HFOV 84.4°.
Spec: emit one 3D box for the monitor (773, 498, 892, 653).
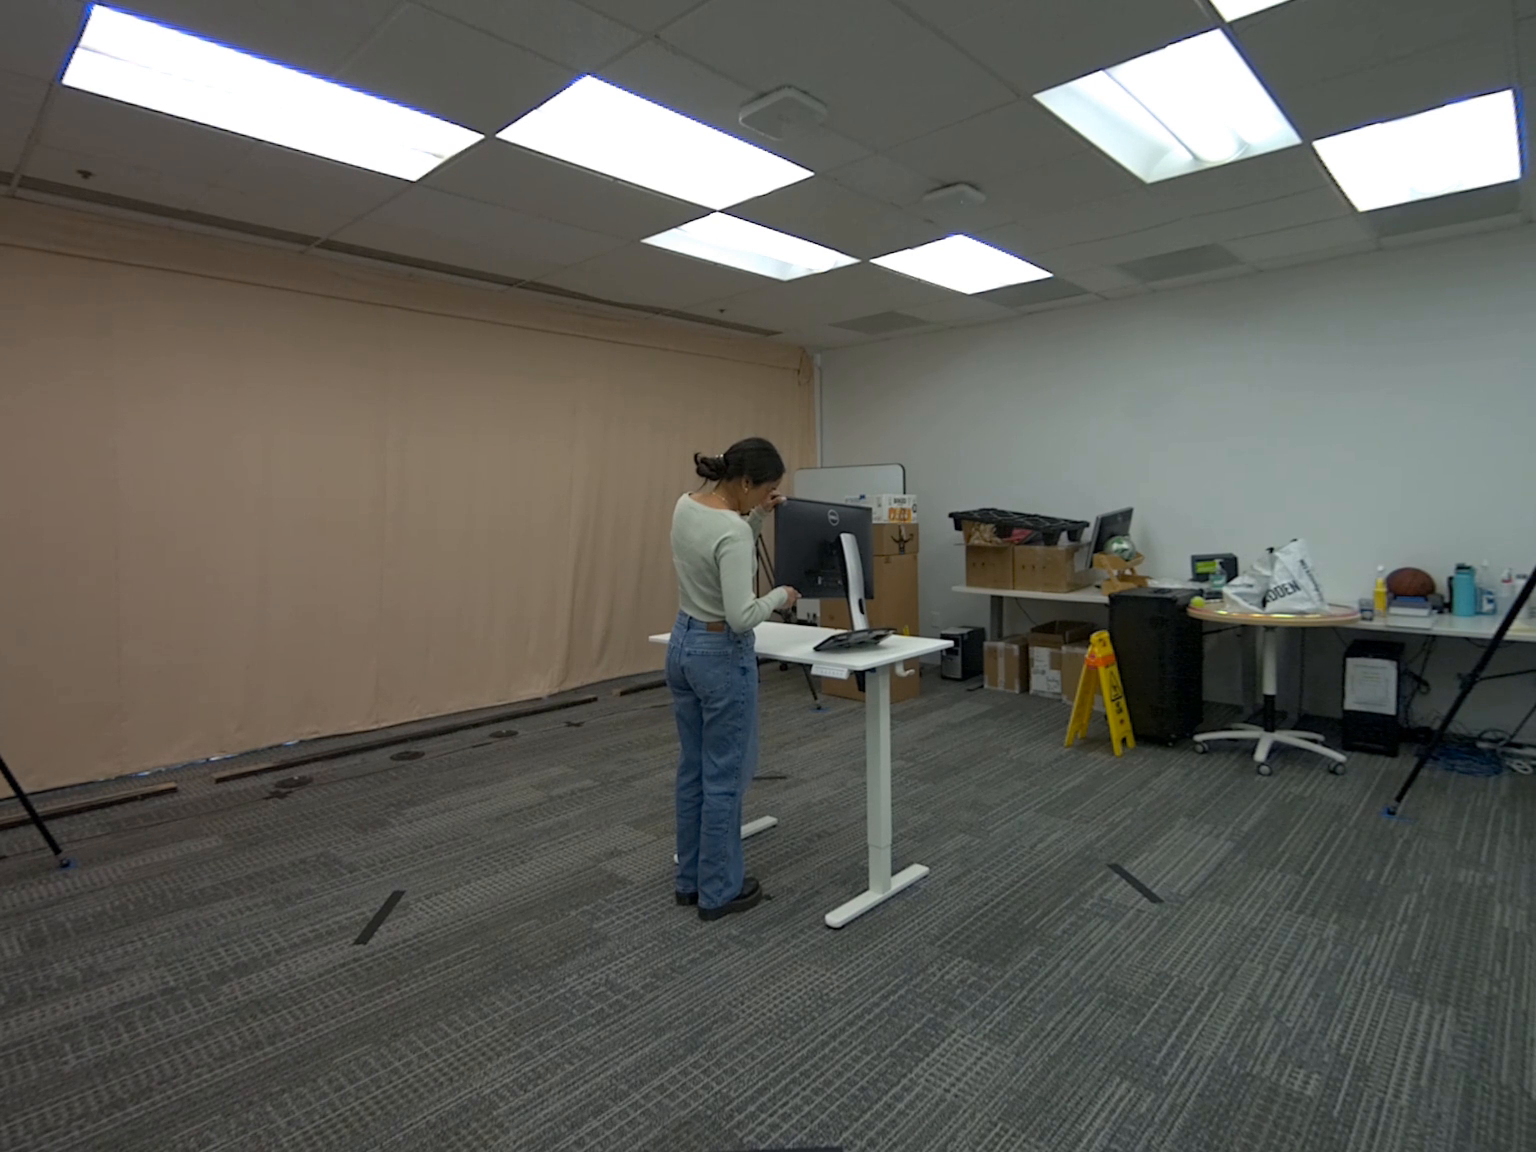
[{"bbox_3d":[0.255,-0.015,2.970,0.521,0.529,0.191,2,-20,-45],"label":"monitor"}]
